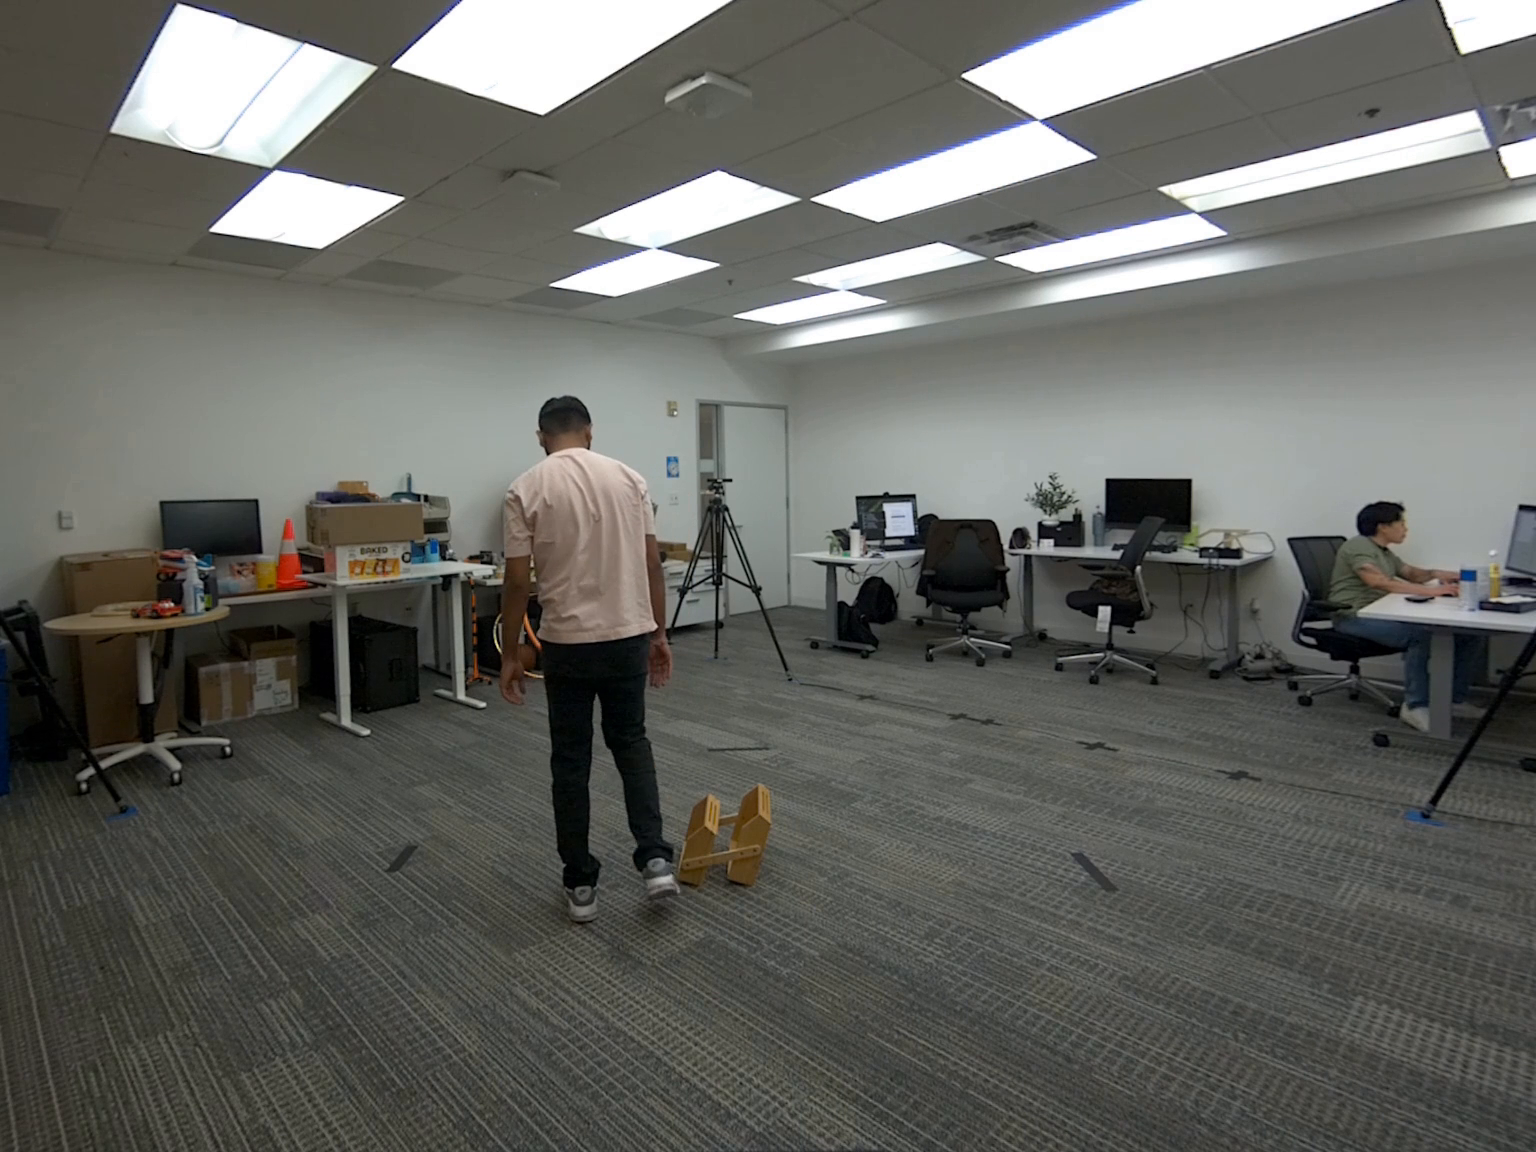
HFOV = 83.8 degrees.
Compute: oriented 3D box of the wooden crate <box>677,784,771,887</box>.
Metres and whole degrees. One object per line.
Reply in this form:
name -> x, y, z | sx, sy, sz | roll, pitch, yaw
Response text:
wooden crate -> -0.153, 0.915, 3.078 | 0.273, 0.301, 0.325 | 16, 5, -1
